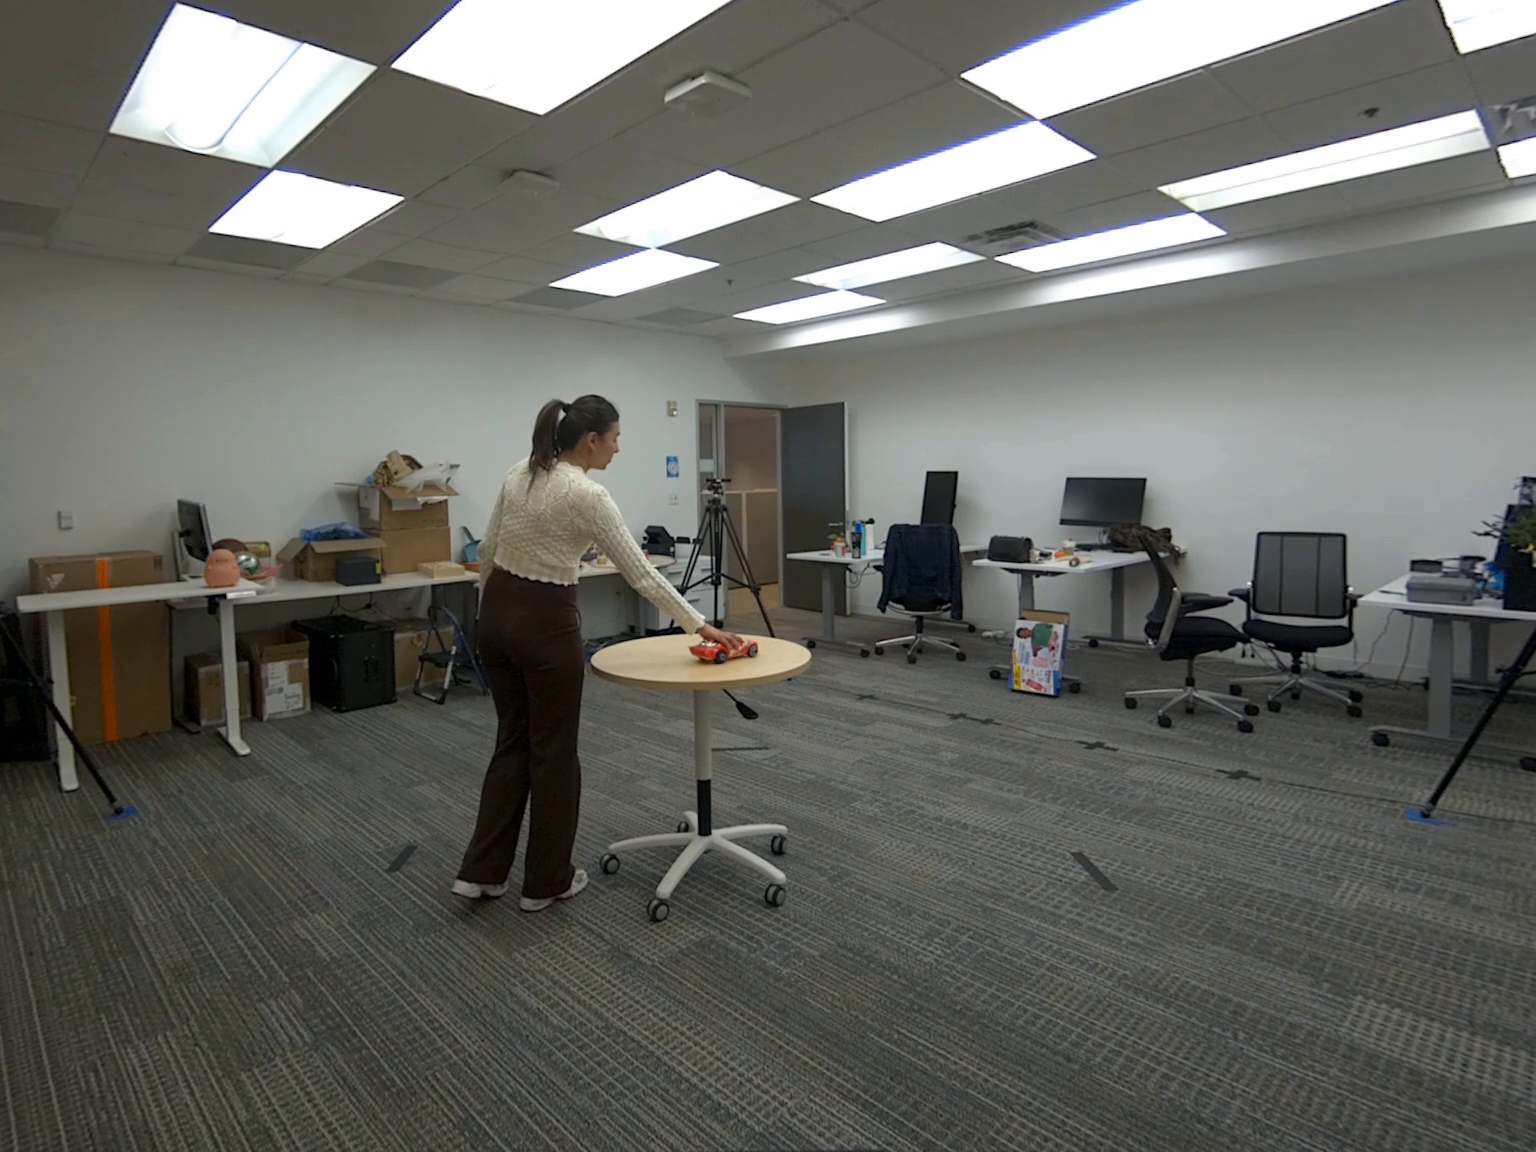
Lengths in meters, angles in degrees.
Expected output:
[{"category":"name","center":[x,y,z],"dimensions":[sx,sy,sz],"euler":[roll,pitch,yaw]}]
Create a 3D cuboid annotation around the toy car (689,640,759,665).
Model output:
[{"category":"toy car","center":[-0.150,0.253,2.914],"dimensions":[0.246,0.083,0.134],"euler":[7,-1,-44]}]
